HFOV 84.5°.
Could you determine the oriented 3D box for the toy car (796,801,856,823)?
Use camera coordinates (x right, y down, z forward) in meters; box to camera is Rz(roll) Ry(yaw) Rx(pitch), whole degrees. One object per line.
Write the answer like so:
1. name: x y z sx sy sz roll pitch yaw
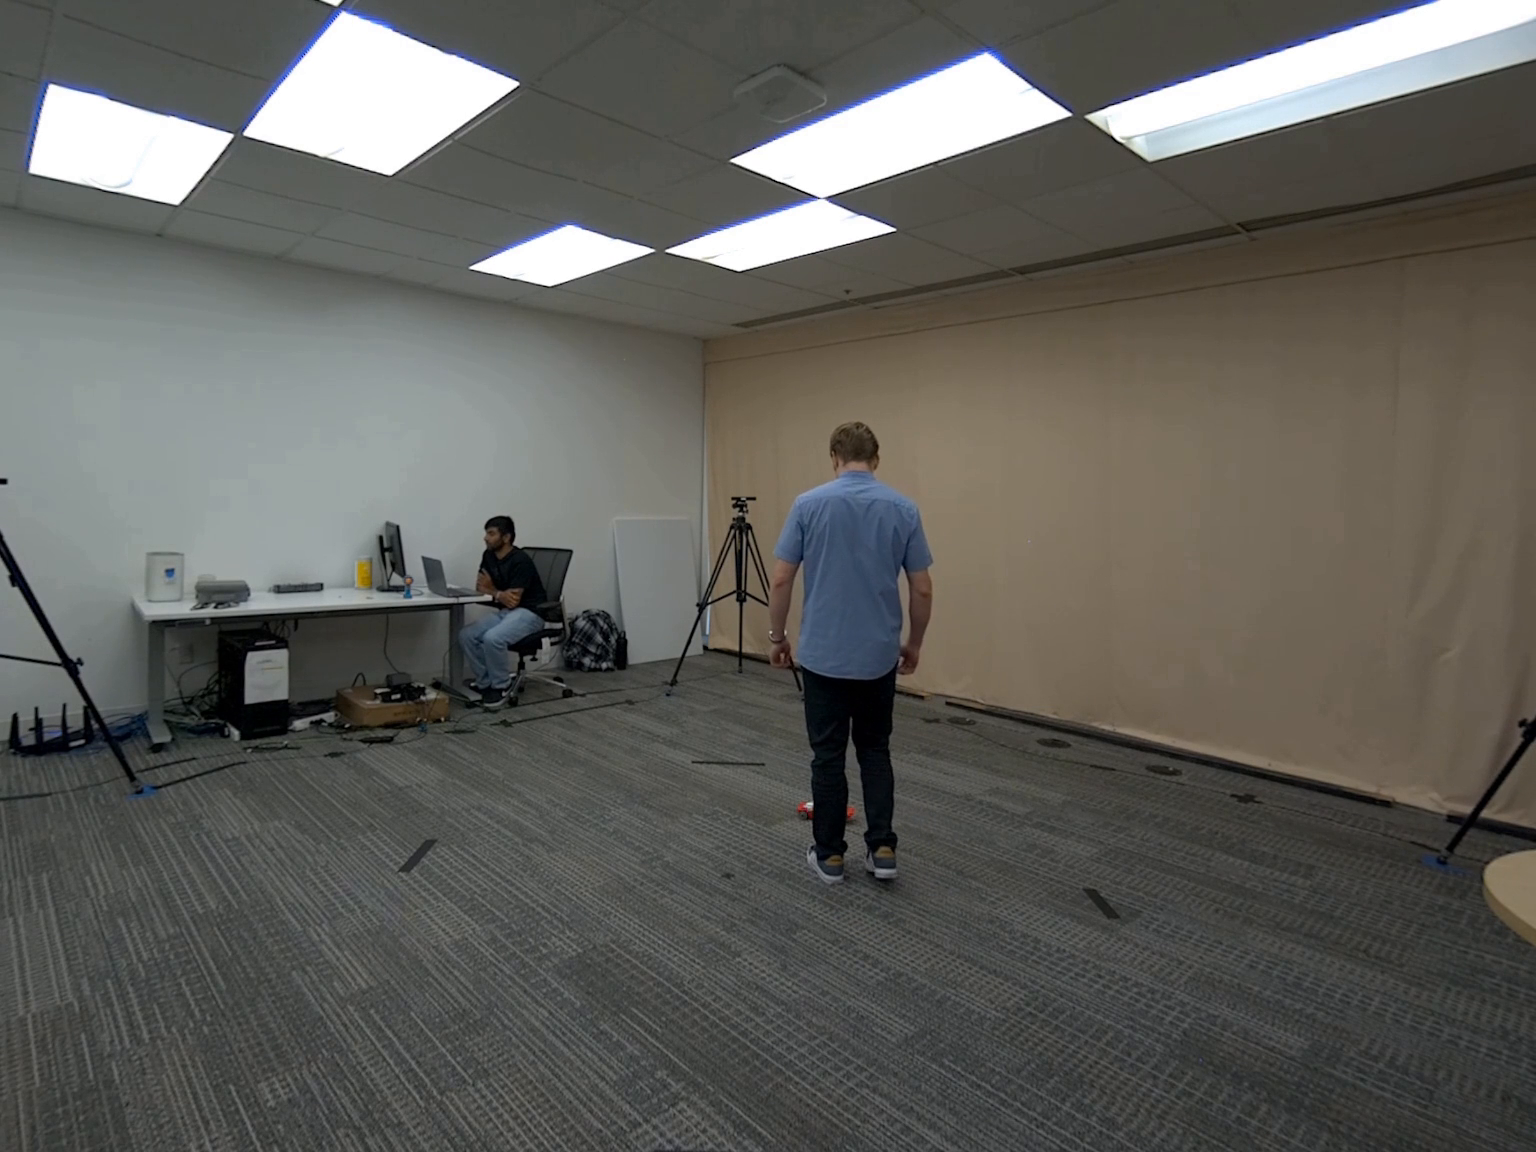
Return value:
1. toy car: 0.255 1.038 3.698 0.257 0.083 0.129 -8 1 17
